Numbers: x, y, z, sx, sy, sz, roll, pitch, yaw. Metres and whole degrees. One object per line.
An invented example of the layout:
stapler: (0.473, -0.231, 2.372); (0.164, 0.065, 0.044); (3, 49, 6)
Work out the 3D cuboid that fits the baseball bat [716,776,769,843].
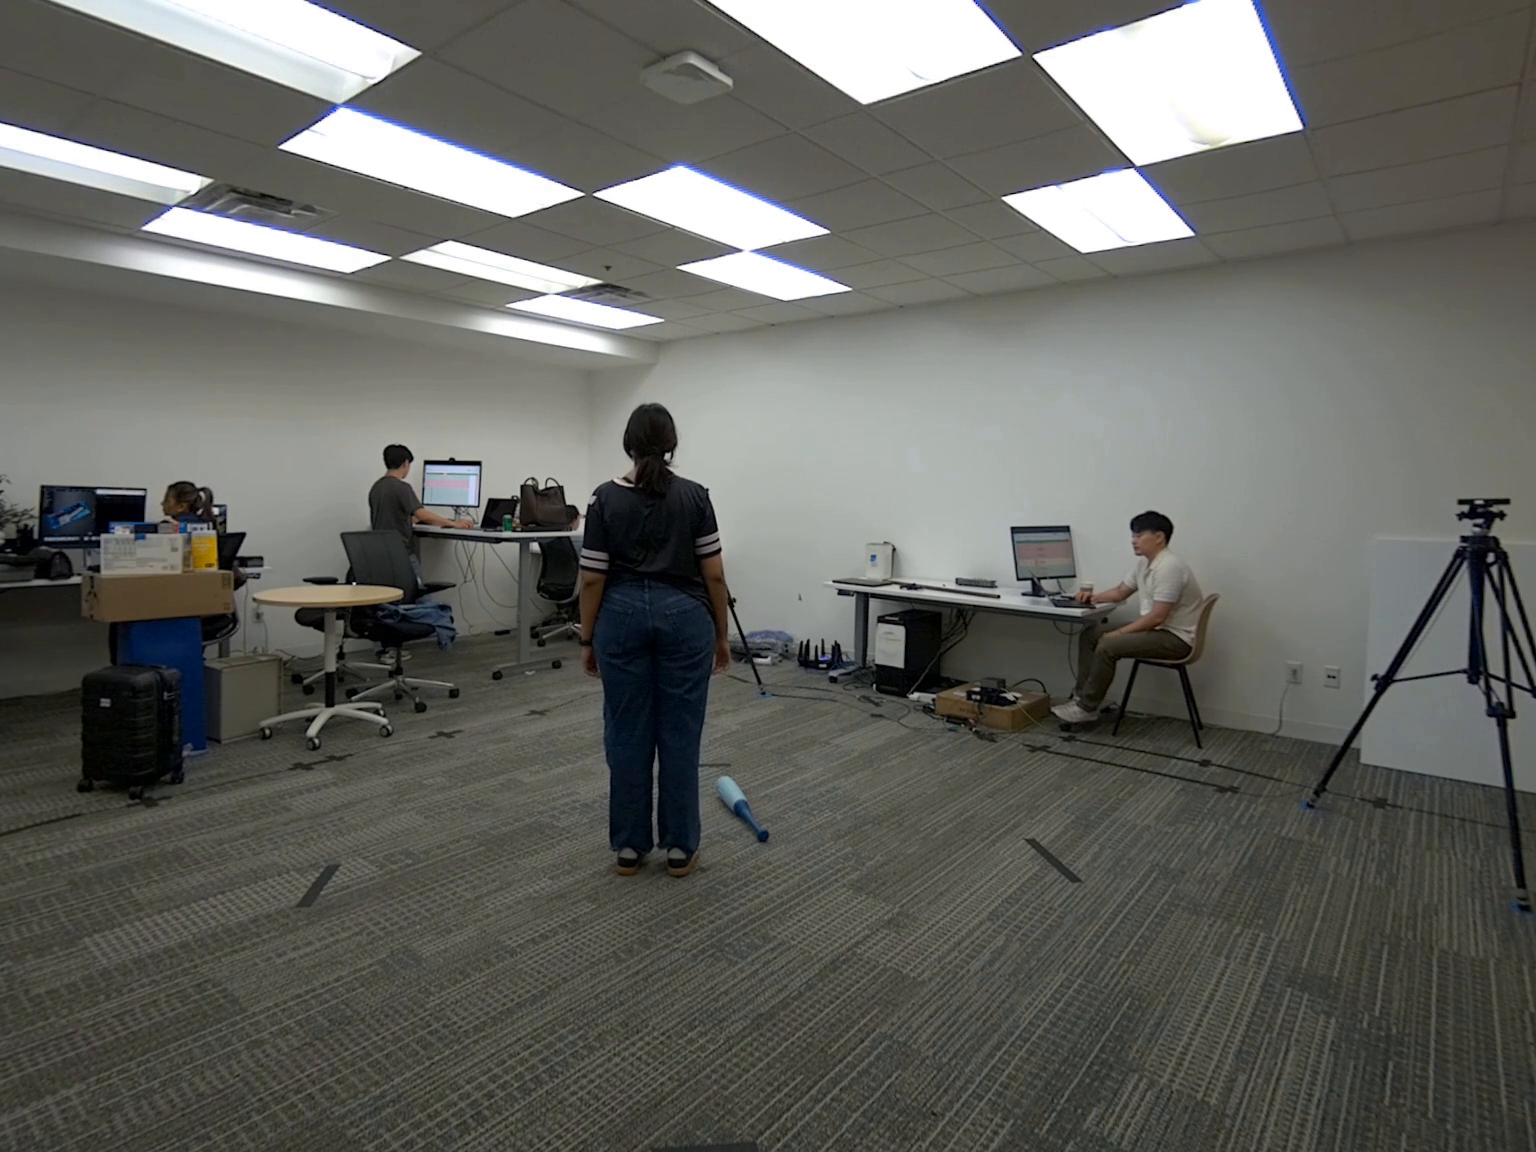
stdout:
baseball bat: (-0.118, 0.988, 3.612); (0.087, 0.088, 0.557); (-1, 9, -19)
